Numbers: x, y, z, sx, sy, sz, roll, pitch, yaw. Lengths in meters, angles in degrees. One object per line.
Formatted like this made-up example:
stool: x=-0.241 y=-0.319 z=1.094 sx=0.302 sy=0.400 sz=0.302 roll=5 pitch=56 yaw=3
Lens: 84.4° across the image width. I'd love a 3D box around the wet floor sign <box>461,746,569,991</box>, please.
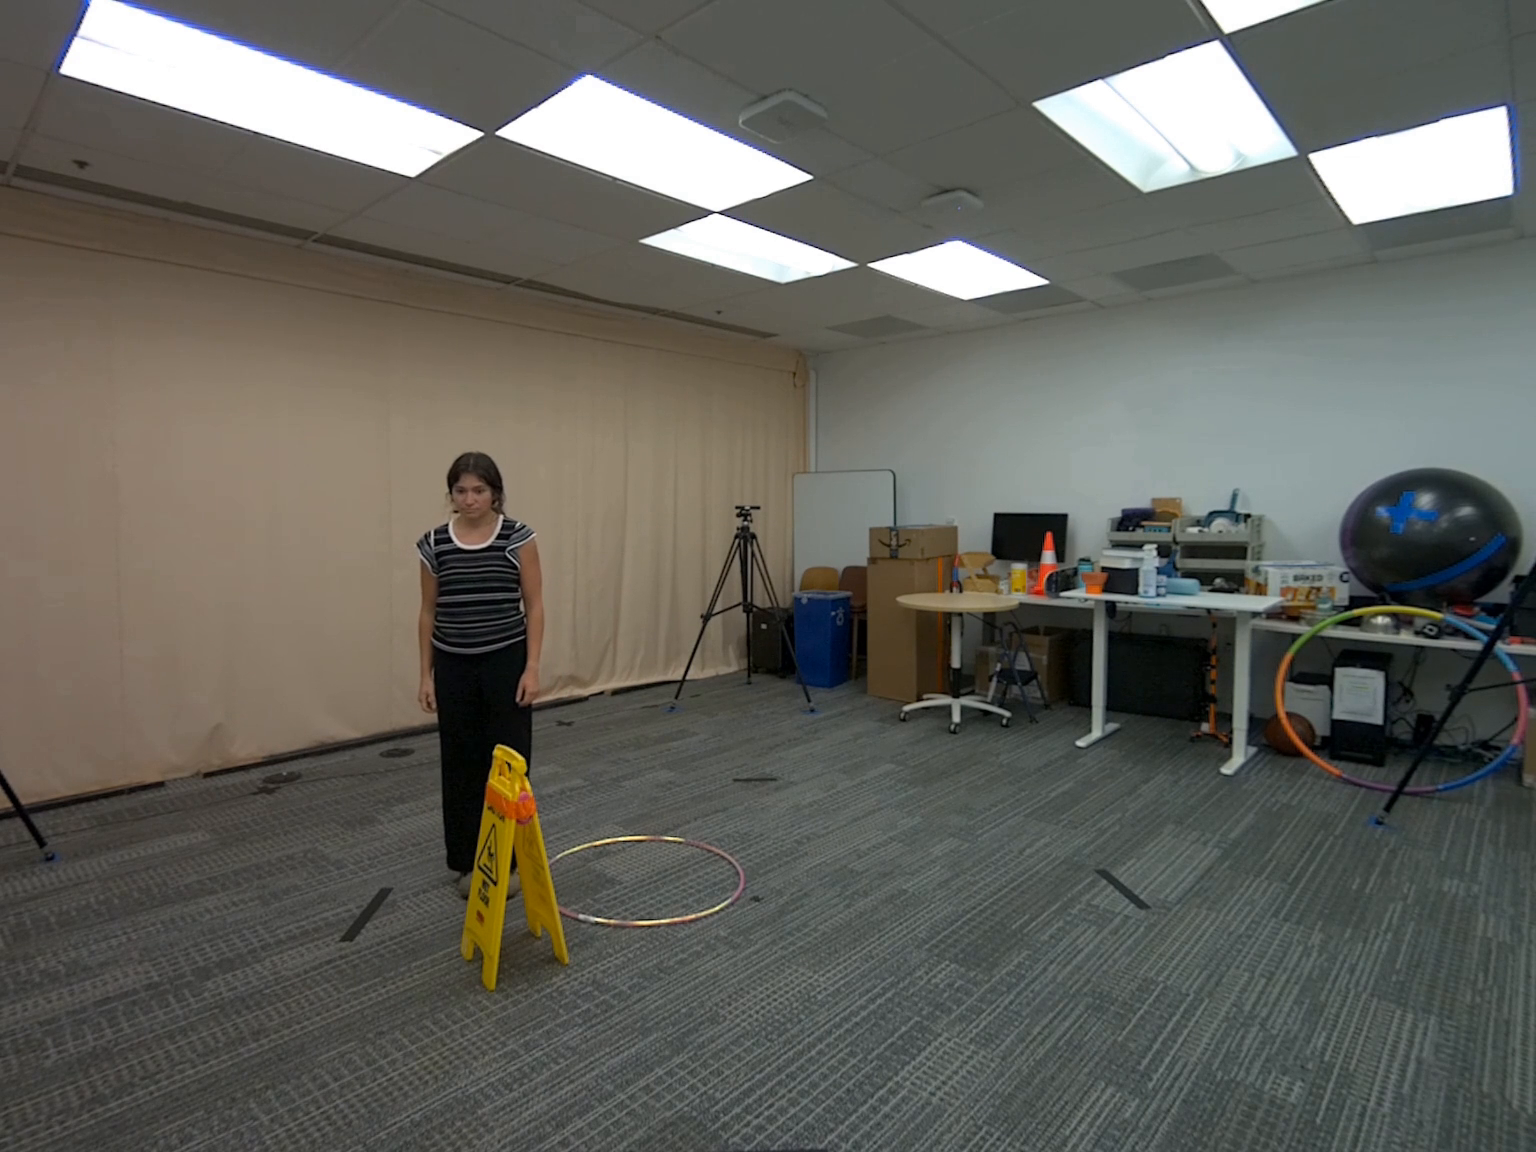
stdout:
wet floor sign: x=-0.787 y=0.858 z=2.582 sx=0.281 sy=0.645 sz=0.291 roll=-2 pitch=4 yaw=-37
